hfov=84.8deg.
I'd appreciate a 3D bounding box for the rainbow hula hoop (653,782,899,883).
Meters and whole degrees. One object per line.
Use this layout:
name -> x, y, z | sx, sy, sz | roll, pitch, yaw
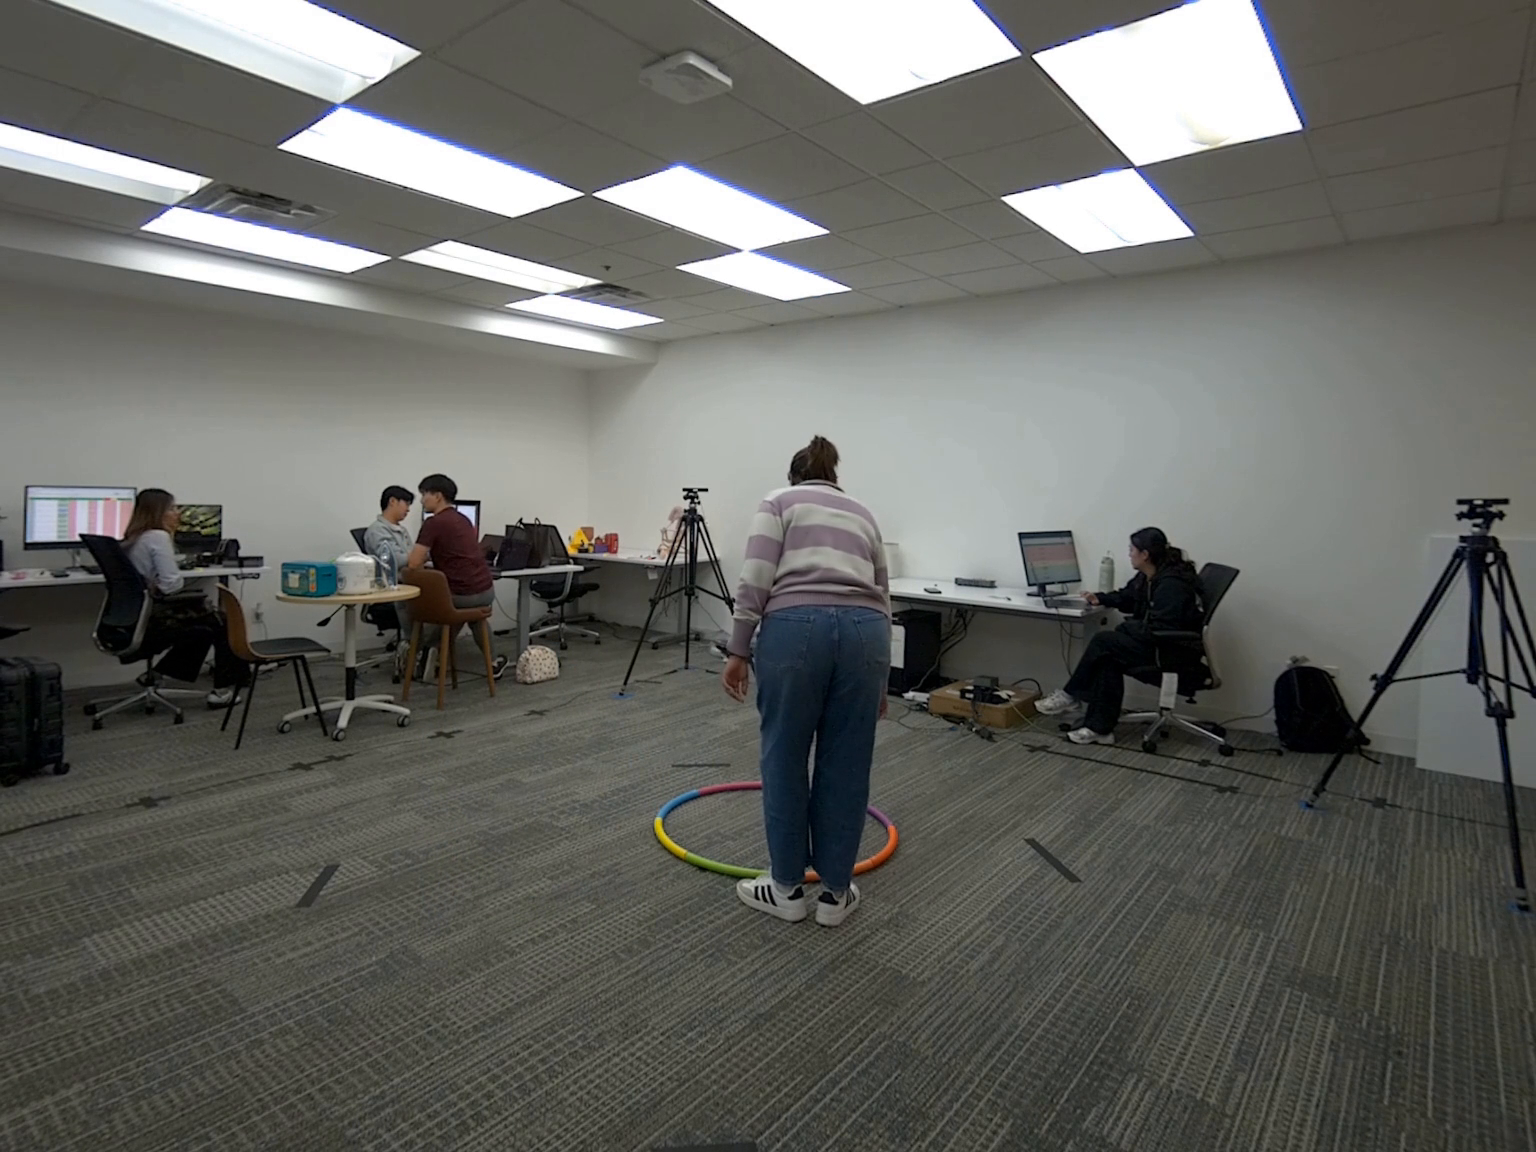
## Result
rainbow hula hoop -> 0.015, 1.008, 3.487 | 0.978, 0.035, 0.984 | 1, 6, -2
